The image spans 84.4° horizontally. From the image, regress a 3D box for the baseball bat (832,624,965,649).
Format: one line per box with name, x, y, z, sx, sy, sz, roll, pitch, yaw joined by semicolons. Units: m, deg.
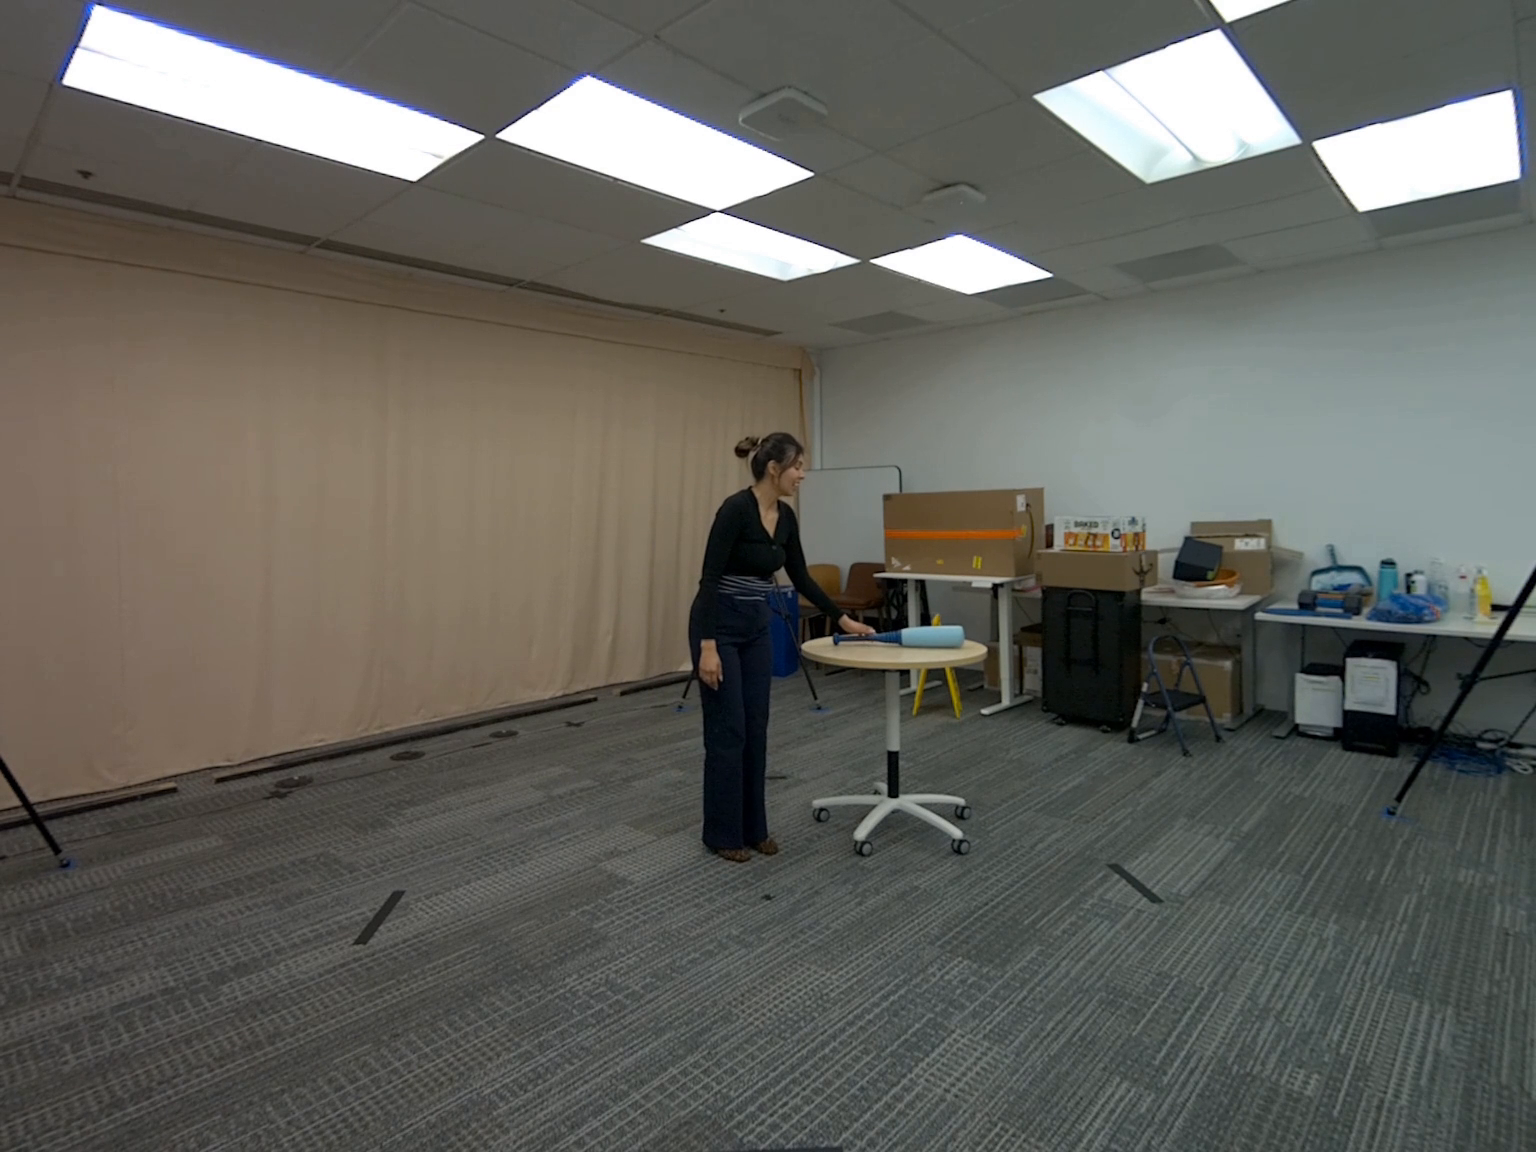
baseball bat;0.546;0.260;3.557;0.552;0.089;0.088;-2;4;15
